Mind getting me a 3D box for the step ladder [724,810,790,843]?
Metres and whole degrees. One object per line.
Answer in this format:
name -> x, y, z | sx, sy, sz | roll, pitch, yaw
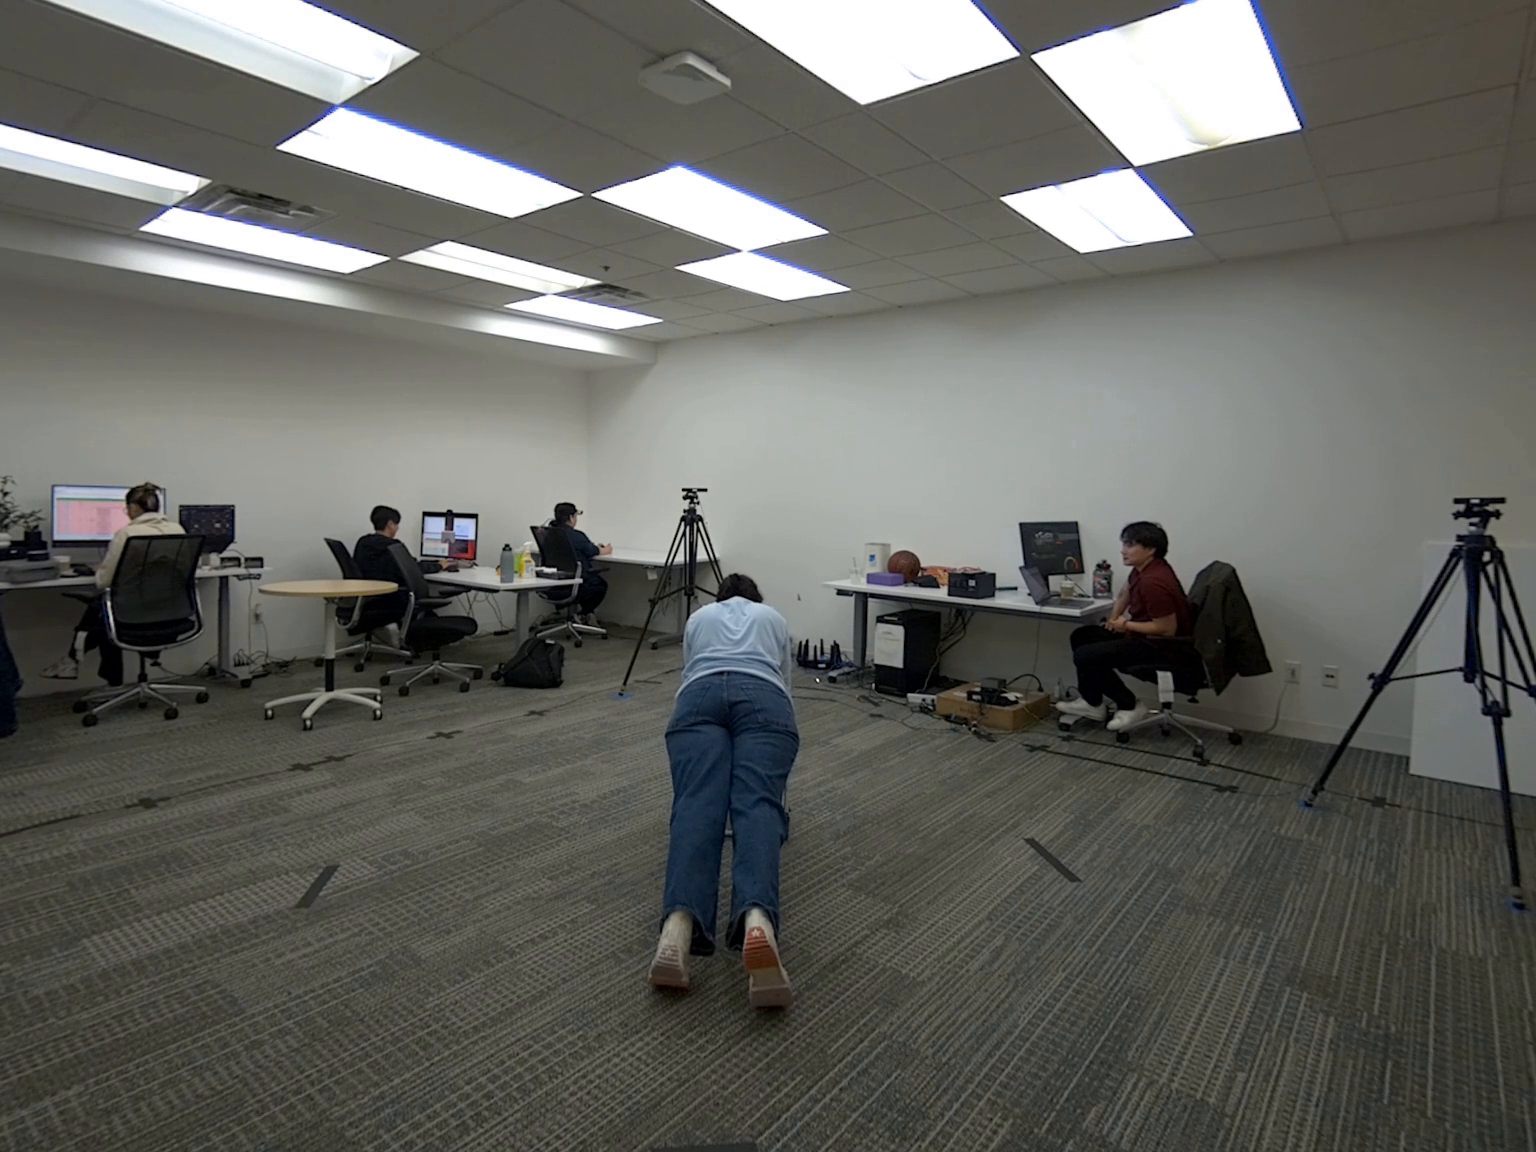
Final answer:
step ladder -> -0.124, 0.724, 3.549 | 0.433, 0.604, 0.349 | 1, 3, 3
